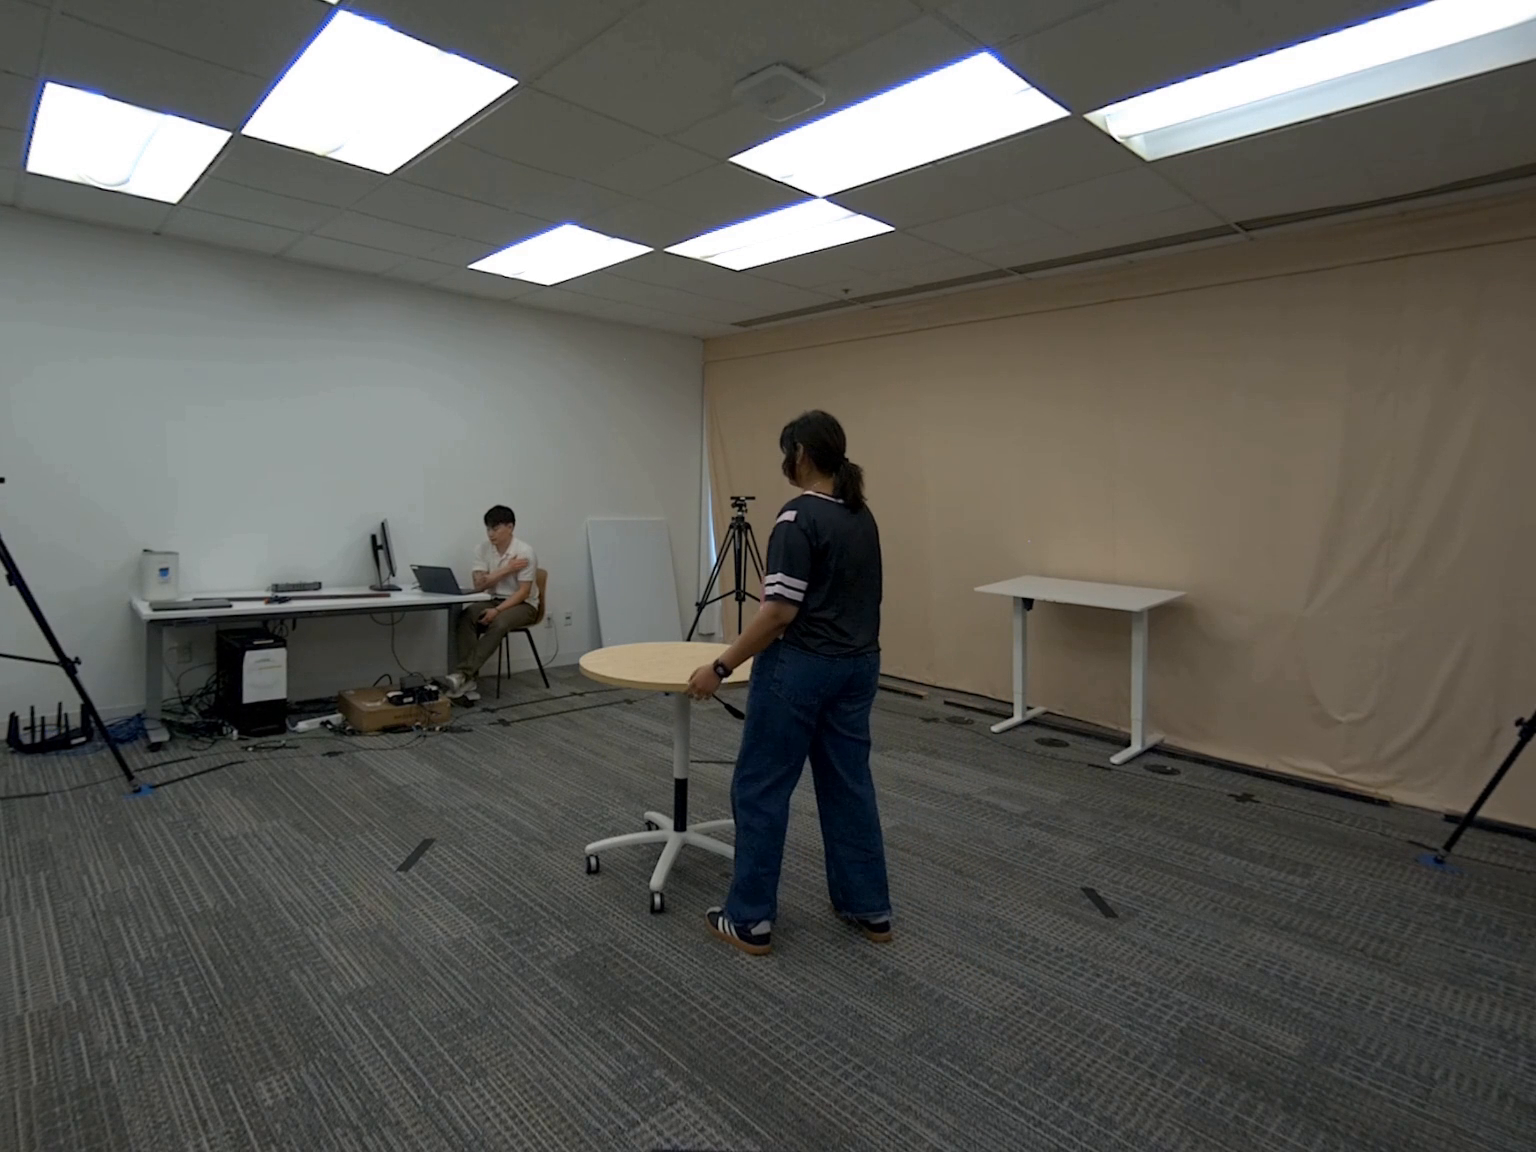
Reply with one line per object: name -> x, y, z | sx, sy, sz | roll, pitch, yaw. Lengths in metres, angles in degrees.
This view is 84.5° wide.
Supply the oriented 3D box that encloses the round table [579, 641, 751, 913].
round table -> -0.331, 0.702, 3.161 | 0.784, 0.784, 0.788 | 2, 4, -1
